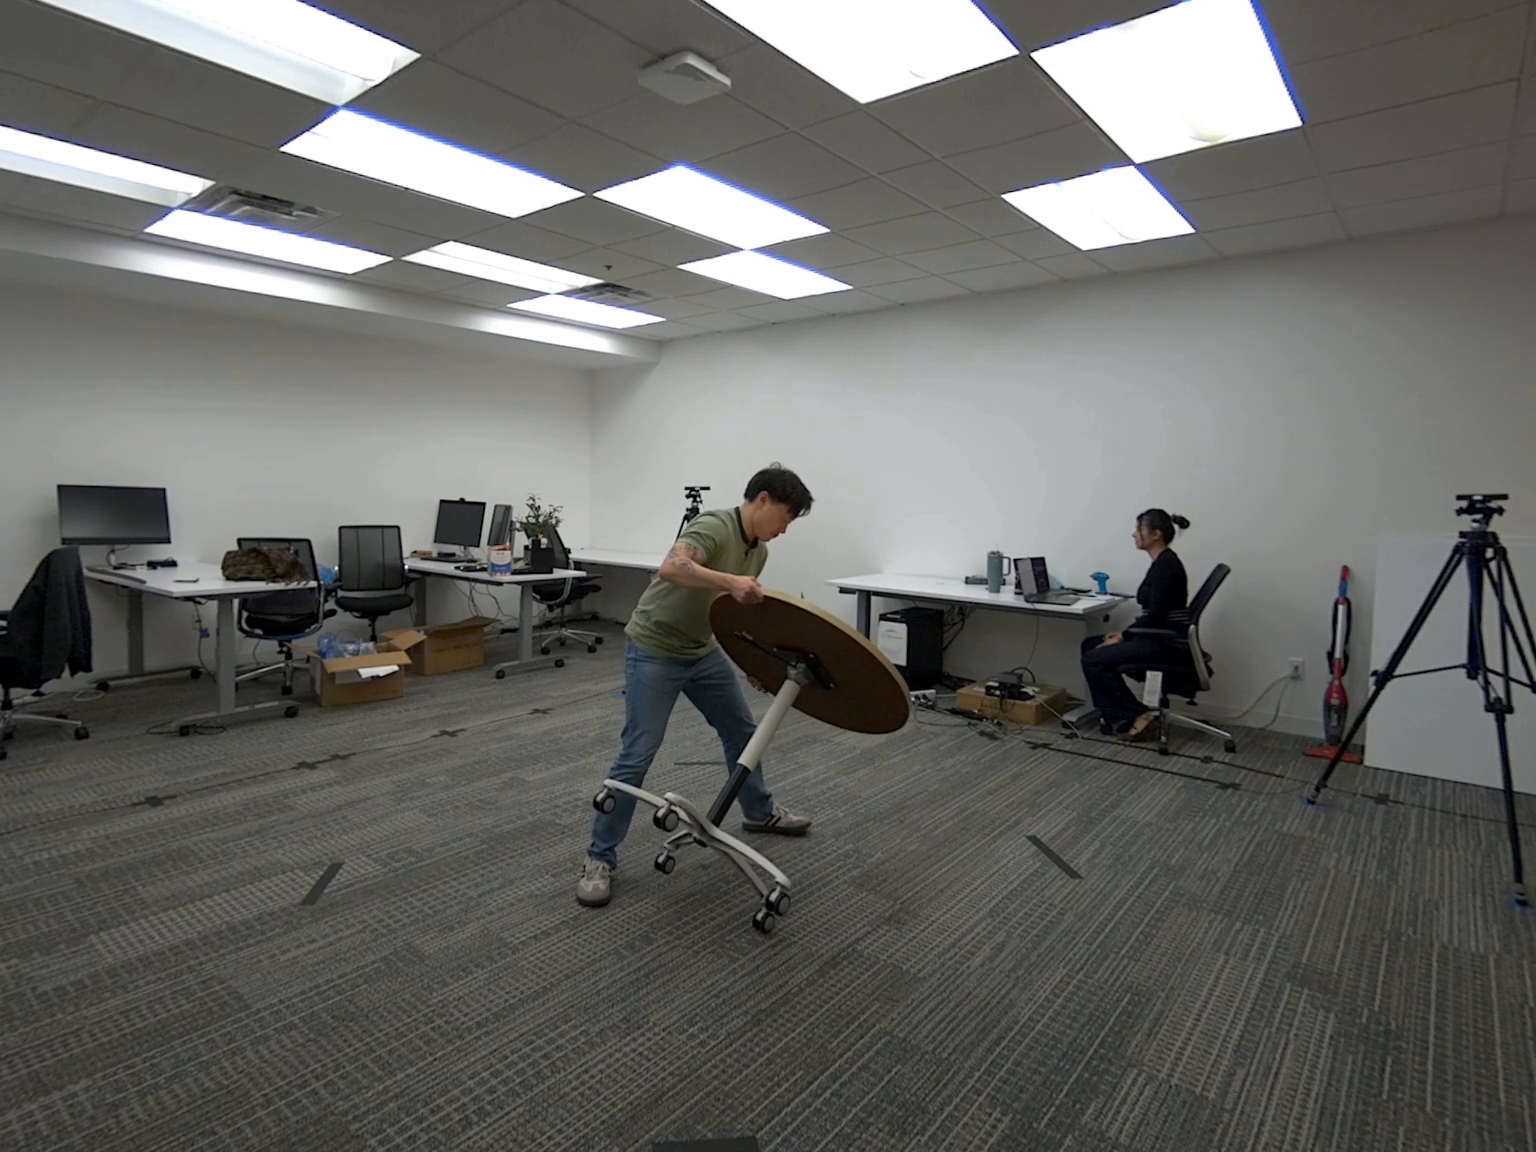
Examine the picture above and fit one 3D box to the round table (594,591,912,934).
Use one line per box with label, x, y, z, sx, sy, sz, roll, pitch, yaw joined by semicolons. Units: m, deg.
round table;-0.066;0.582;2.723;0.790;0.797;0.735;5;-40;43
